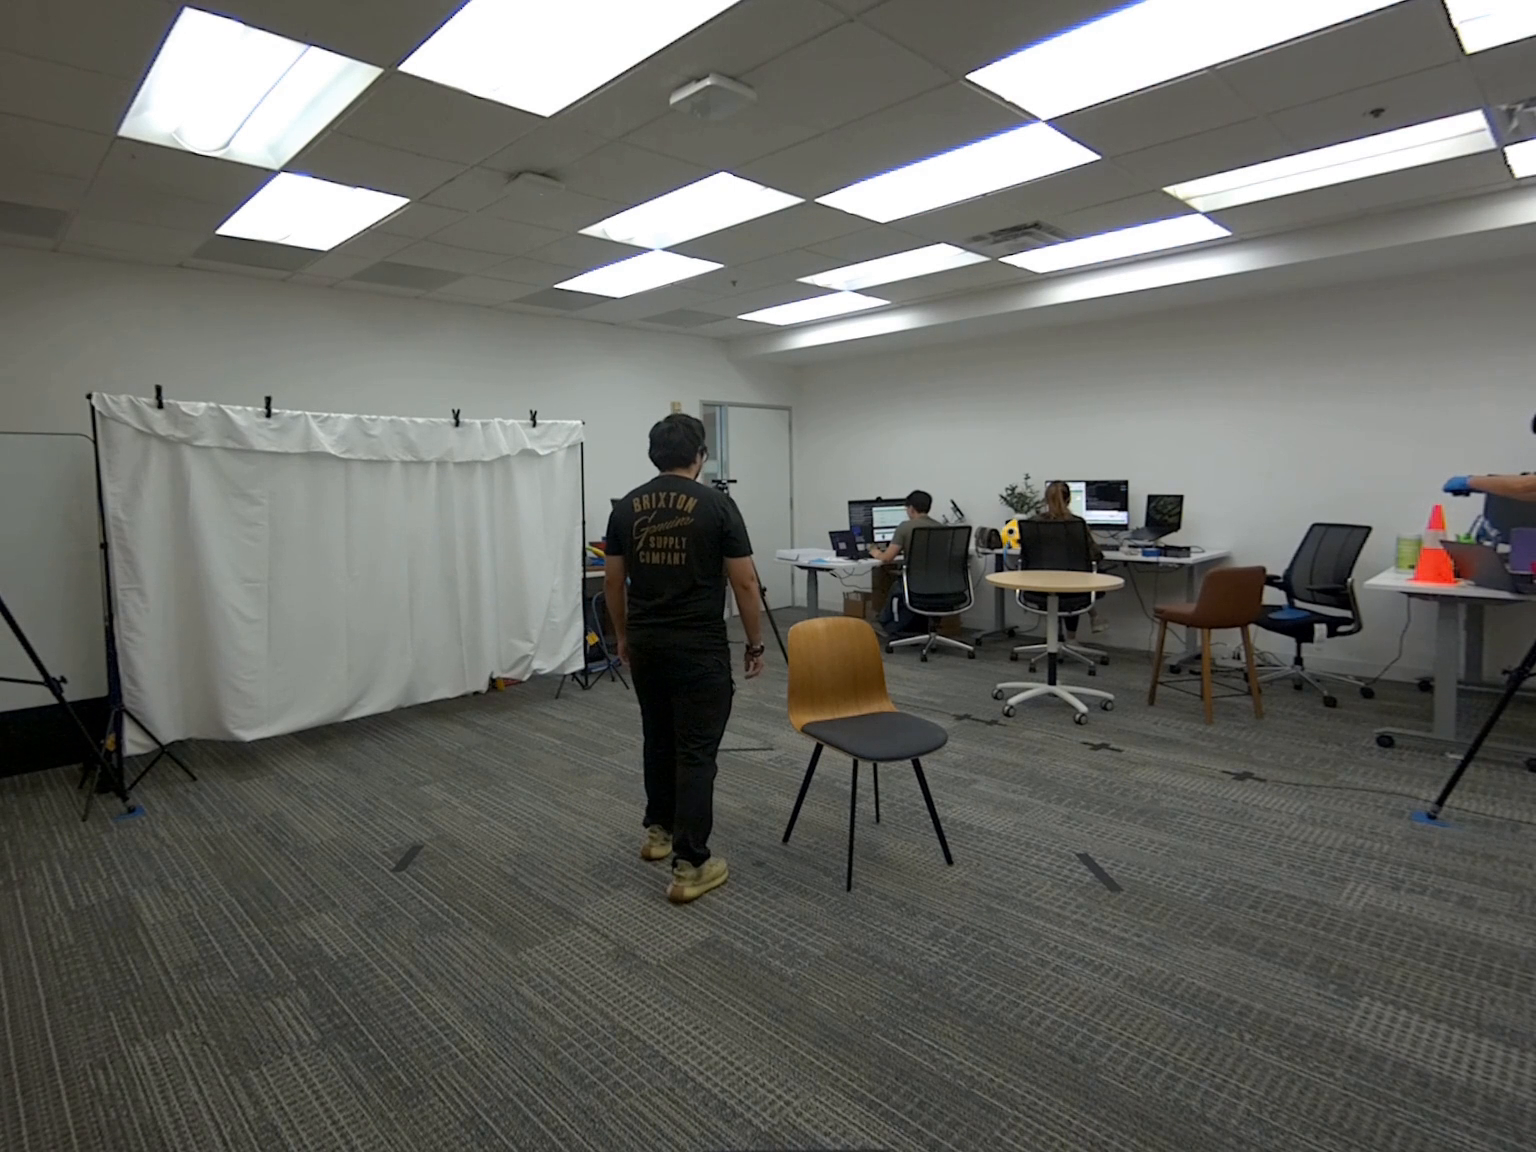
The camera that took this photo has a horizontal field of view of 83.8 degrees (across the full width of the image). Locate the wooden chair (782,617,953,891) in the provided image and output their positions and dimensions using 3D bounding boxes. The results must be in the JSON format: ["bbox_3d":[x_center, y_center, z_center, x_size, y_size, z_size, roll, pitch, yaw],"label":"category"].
[{"bbox_3d":[0.360,0.608,3.144,0.467,0.877,0.535,-3,0,-28],"label":"wooden chair"}]
